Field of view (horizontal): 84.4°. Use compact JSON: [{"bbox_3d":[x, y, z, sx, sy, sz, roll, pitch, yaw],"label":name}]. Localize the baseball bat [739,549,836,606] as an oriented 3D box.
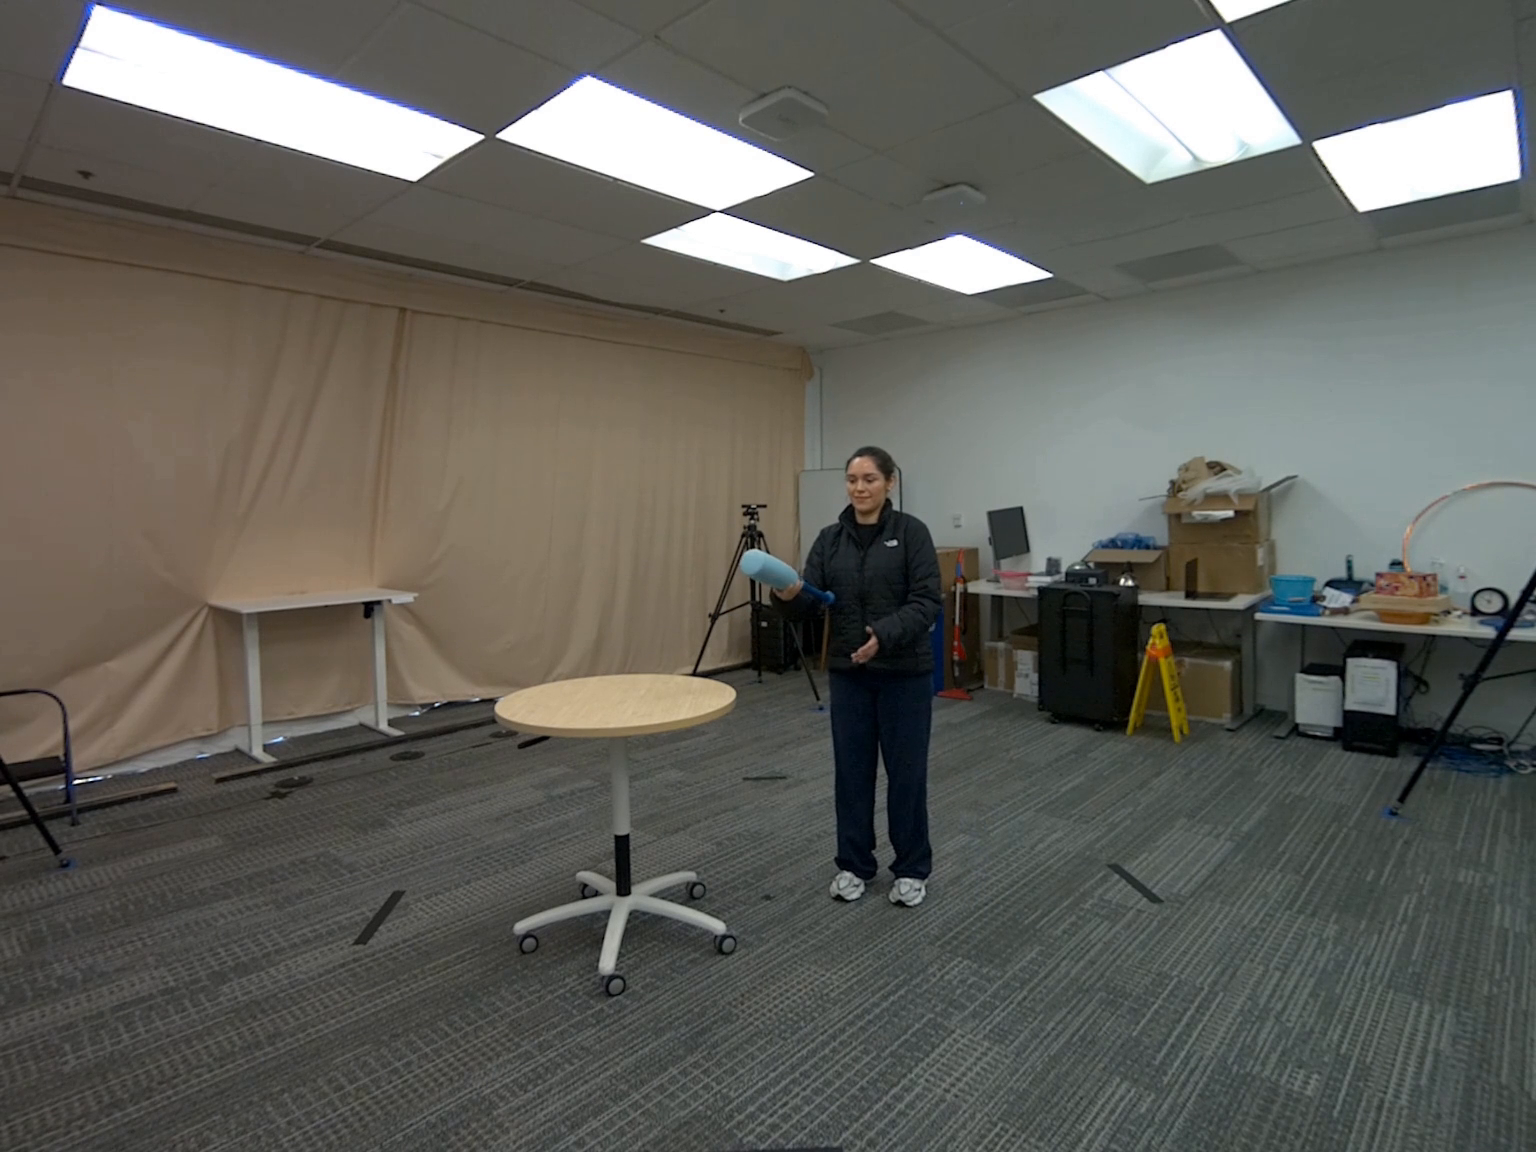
[{"bbox_3d":[0.101,0.031,2.718,0.091,0.089,0.524,2,-13,30],"label":"baseball bat"}]
